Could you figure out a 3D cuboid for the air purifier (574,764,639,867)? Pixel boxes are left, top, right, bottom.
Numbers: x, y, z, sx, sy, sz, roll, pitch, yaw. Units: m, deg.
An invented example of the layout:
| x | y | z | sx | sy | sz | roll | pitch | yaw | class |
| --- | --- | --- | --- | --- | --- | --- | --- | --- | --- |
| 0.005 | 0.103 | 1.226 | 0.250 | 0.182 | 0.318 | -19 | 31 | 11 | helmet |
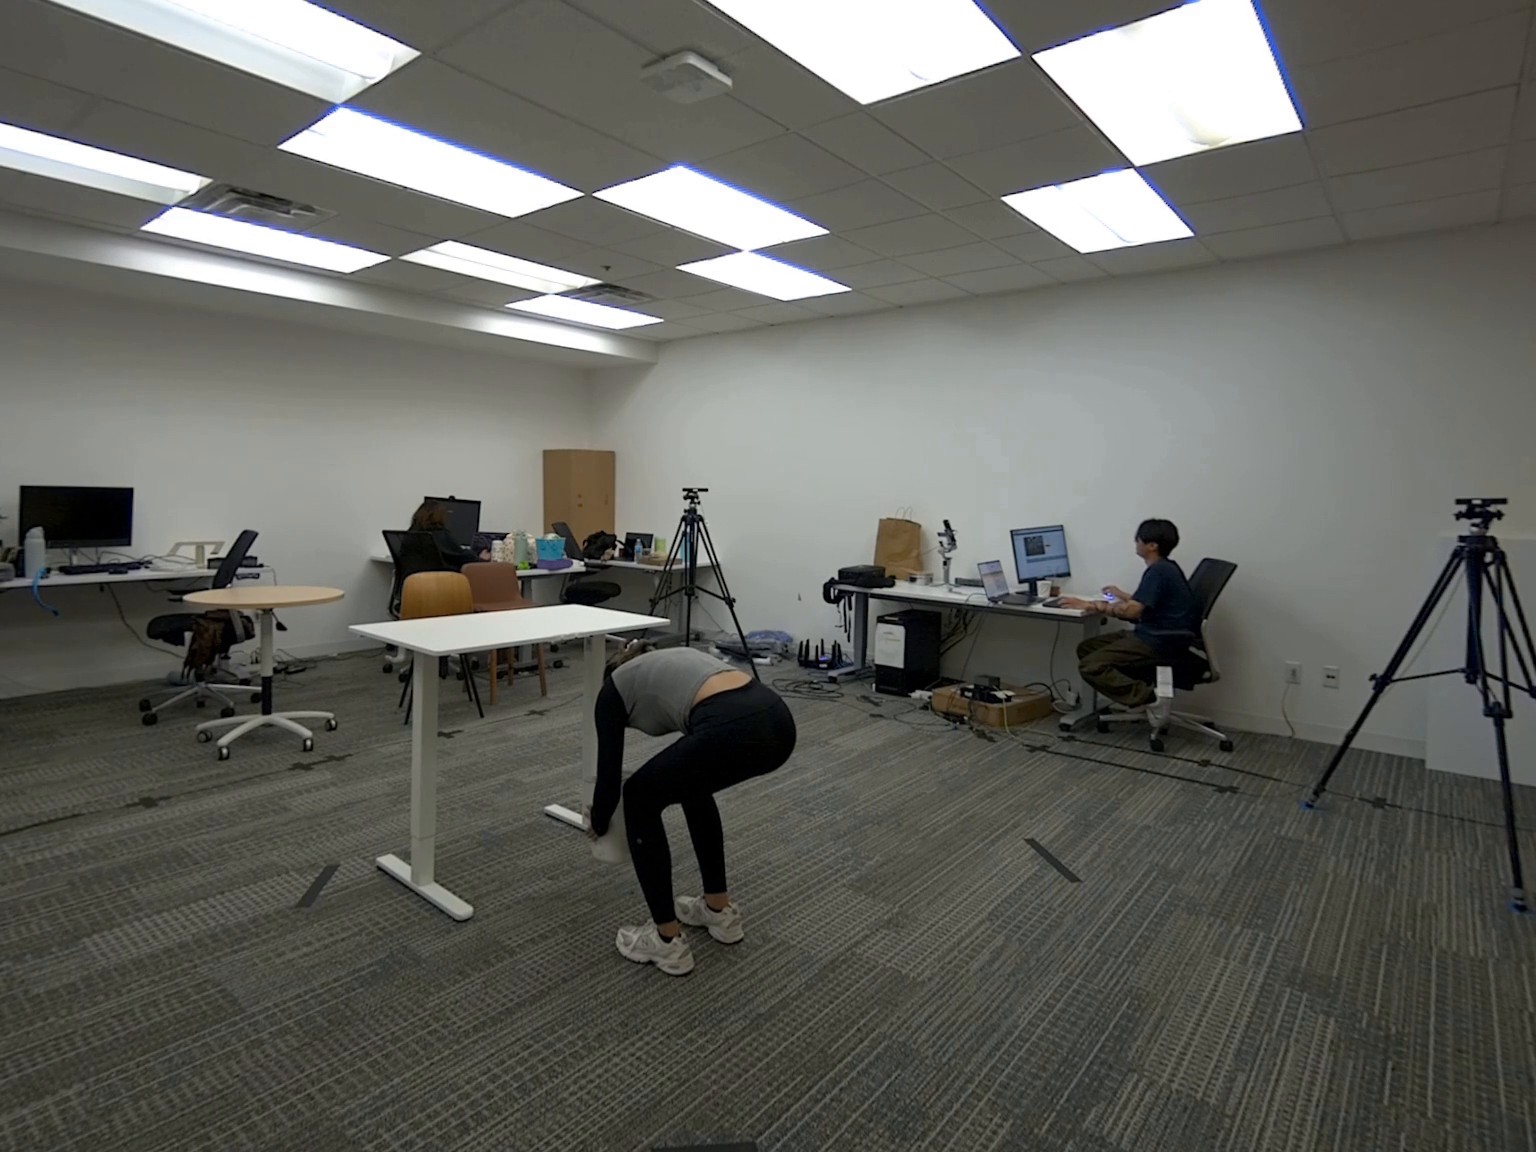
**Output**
| x | y | z | sx | sy | sz | roll | pitch | yaw | class |
| --- | --- | --- | --- | --- | --- | --- | --- | --- | --- |
| -0.515 | 0.780 | 2.784 | 0.177 | 0.265 | 0.166 | -3 | 0 | 43 | air purifier |
